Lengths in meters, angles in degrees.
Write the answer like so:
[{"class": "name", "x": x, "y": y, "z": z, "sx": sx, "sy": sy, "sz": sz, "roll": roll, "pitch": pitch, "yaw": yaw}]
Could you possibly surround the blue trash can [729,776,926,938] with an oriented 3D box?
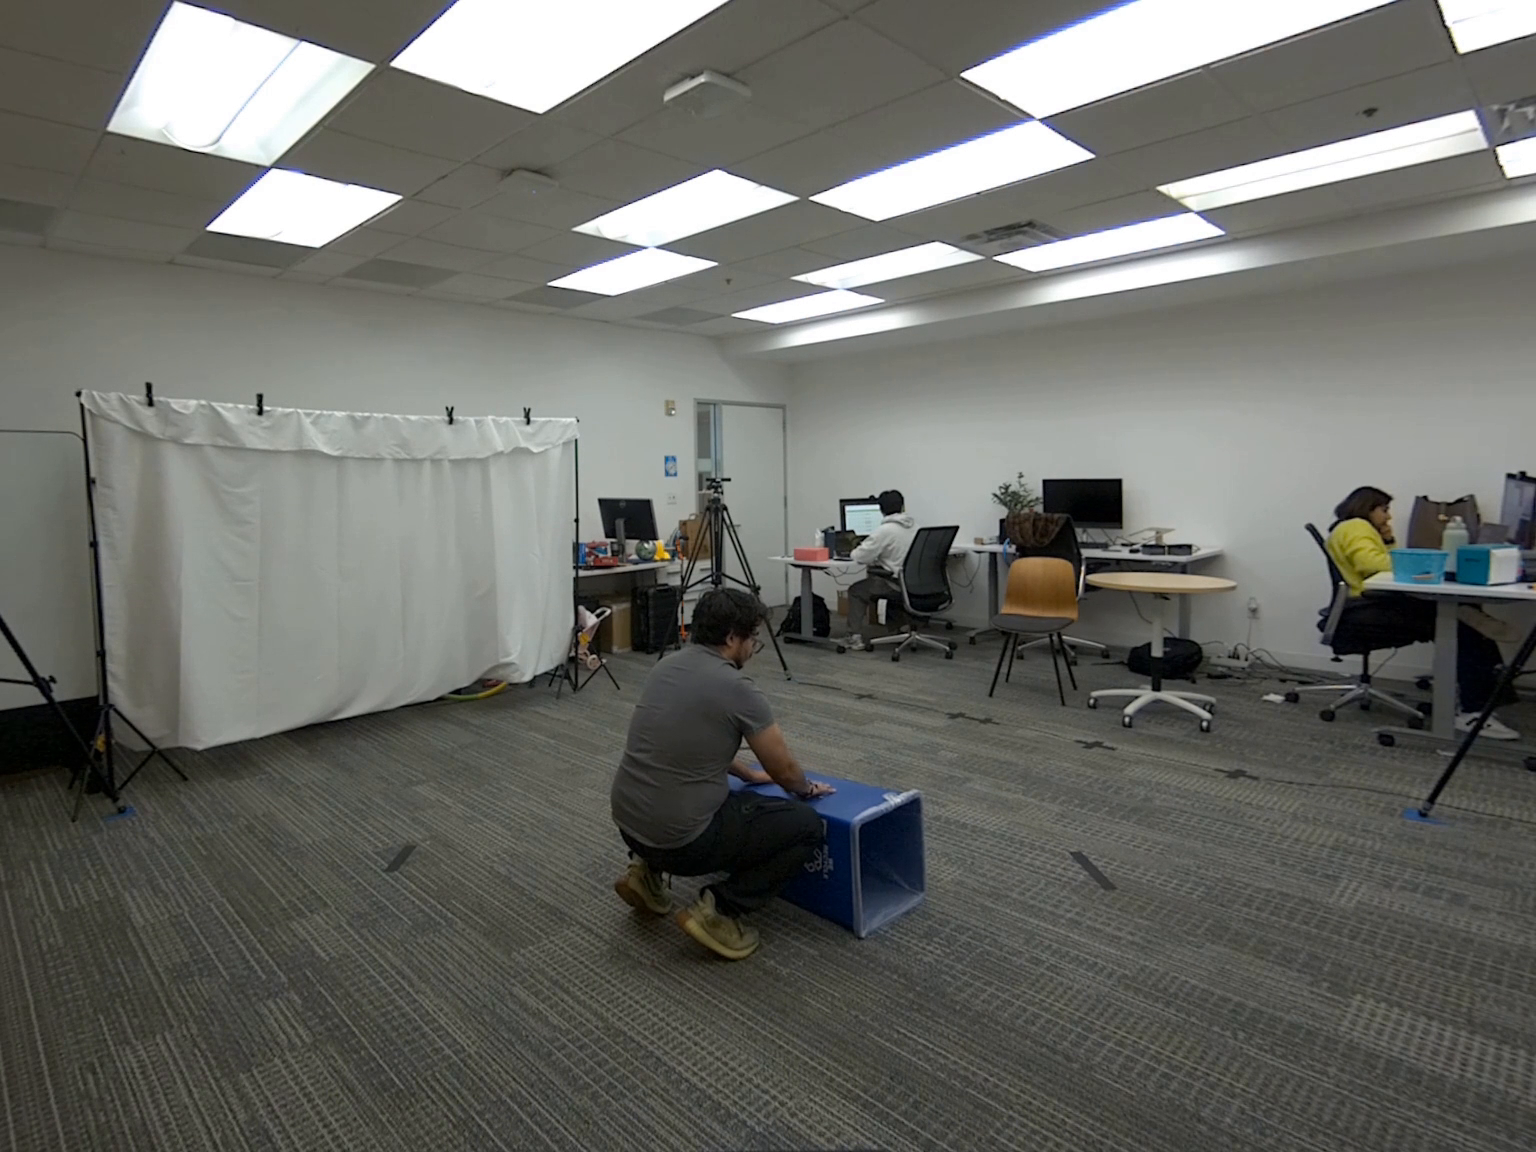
[{"class": "blue trash can", "x": 0.140, "y": 0.885, "z": 2.950, "sx": 0.364, "sy": 0.377, "sz": 0.735, "roll": -6, "pitch": 6, "yaw": -44}]
